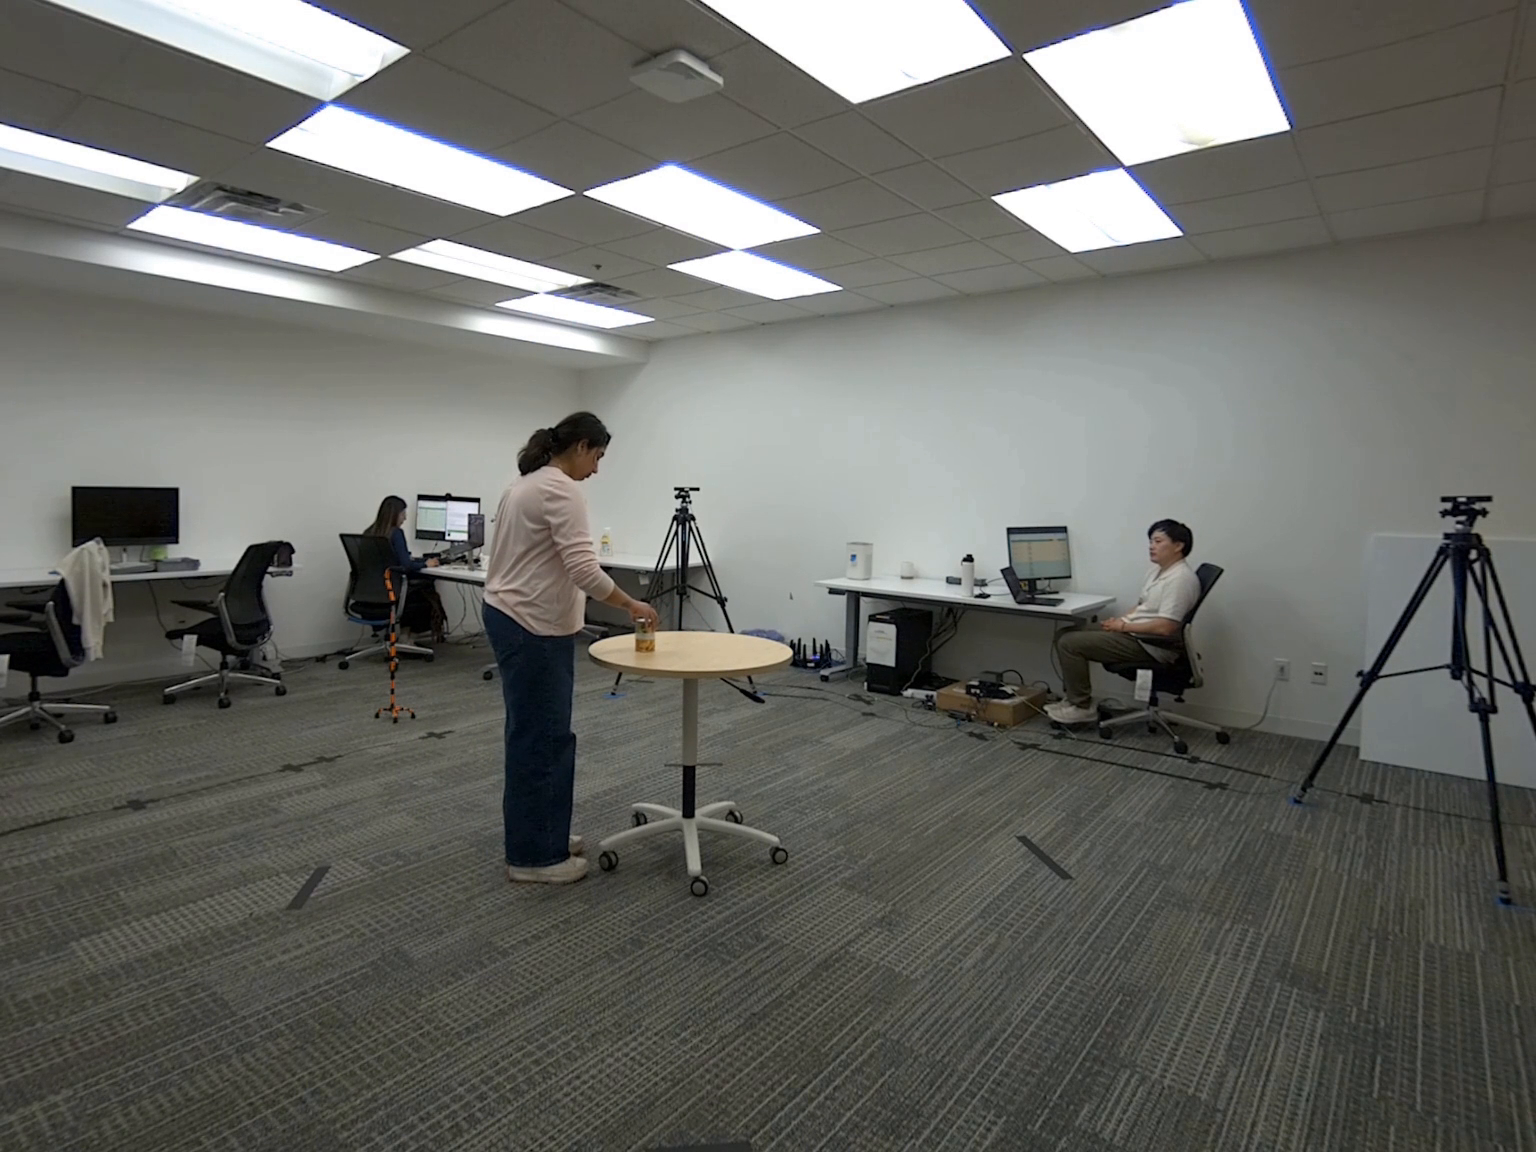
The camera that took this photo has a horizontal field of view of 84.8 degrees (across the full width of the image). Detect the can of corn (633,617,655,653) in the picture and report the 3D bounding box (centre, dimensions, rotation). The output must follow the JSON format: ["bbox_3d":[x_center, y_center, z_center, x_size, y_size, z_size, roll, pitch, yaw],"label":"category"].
[{"bbox_3d":[-0.471,0.223,3.154,0.074,0.111,0.074,-1,2,-2],"label":"can of corn"}]
